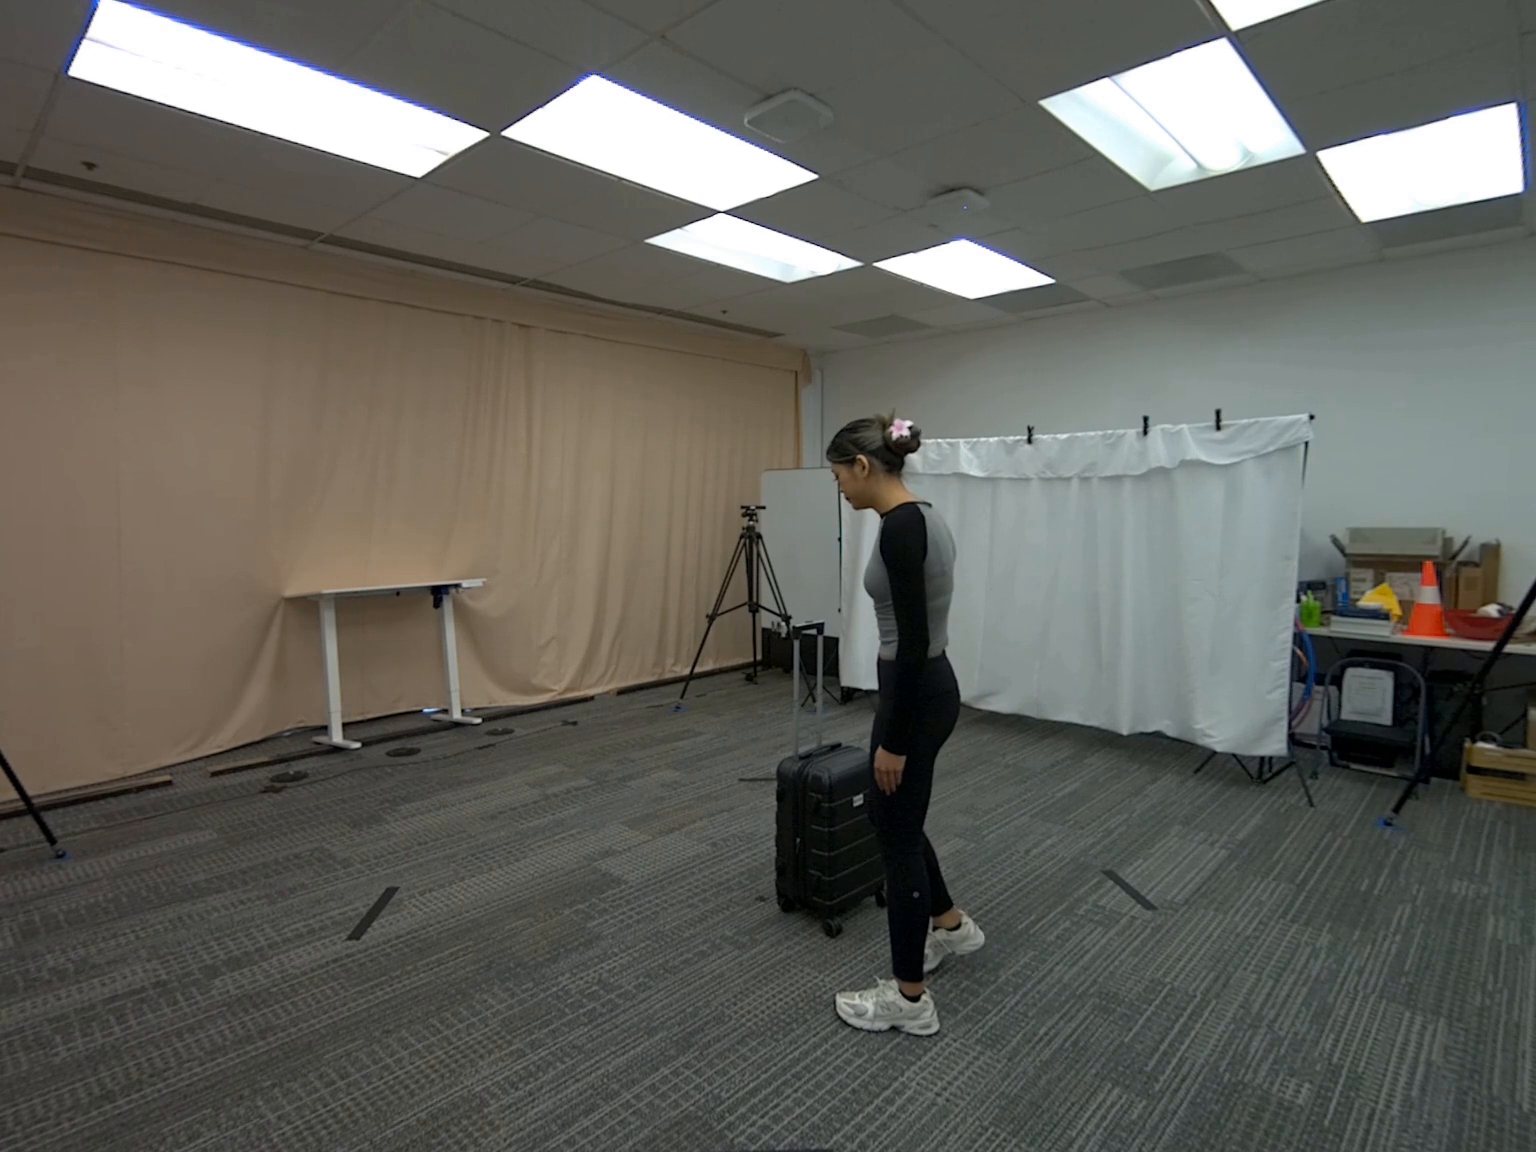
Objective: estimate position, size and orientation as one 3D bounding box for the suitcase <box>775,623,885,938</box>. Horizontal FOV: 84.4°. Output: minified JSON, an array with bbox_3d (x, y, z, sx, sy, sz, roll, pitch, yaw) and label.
[{"bbox_3d":[0.230,0.670,2.893,0.266,0.976,0.372,5,5,44],"label":"suitcase"}]
